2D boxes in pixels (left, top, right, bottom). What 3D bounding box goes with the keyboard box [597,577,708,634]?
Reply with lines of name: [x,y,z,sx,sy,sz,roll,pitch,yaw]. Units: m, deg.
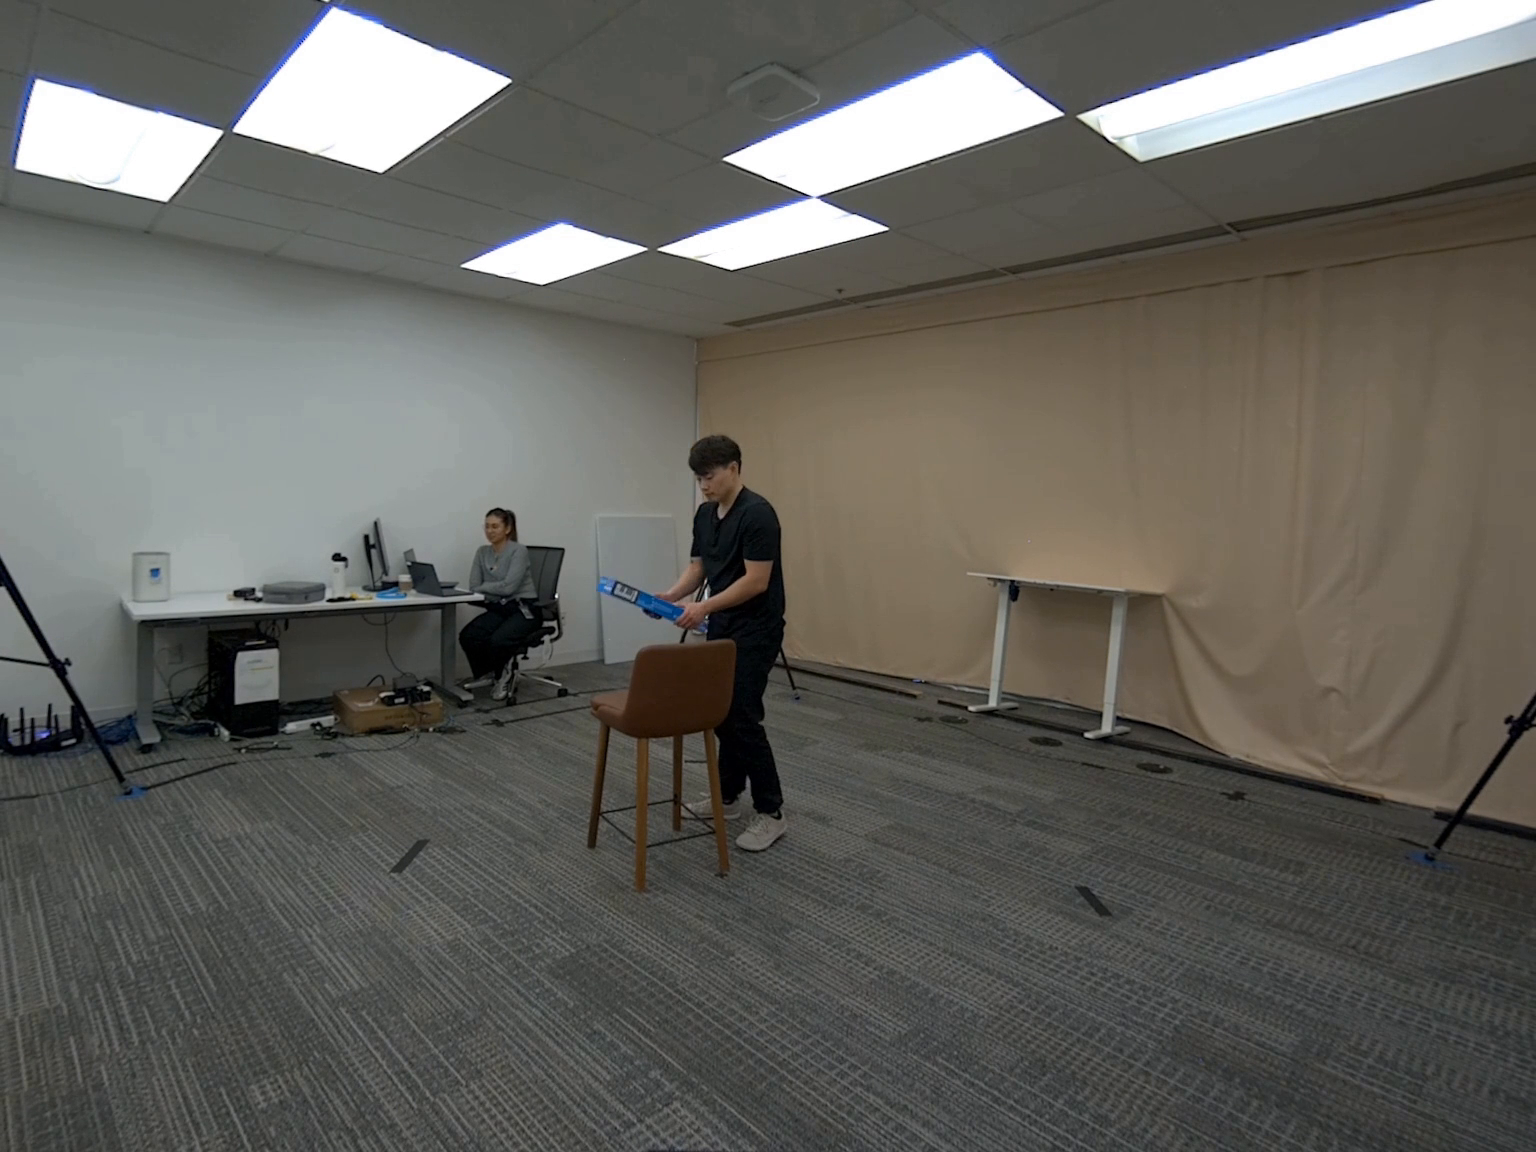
keyboard box: [-0.461,0.119,3.350,0.426,0.059,0.180,26,-9,-27]
